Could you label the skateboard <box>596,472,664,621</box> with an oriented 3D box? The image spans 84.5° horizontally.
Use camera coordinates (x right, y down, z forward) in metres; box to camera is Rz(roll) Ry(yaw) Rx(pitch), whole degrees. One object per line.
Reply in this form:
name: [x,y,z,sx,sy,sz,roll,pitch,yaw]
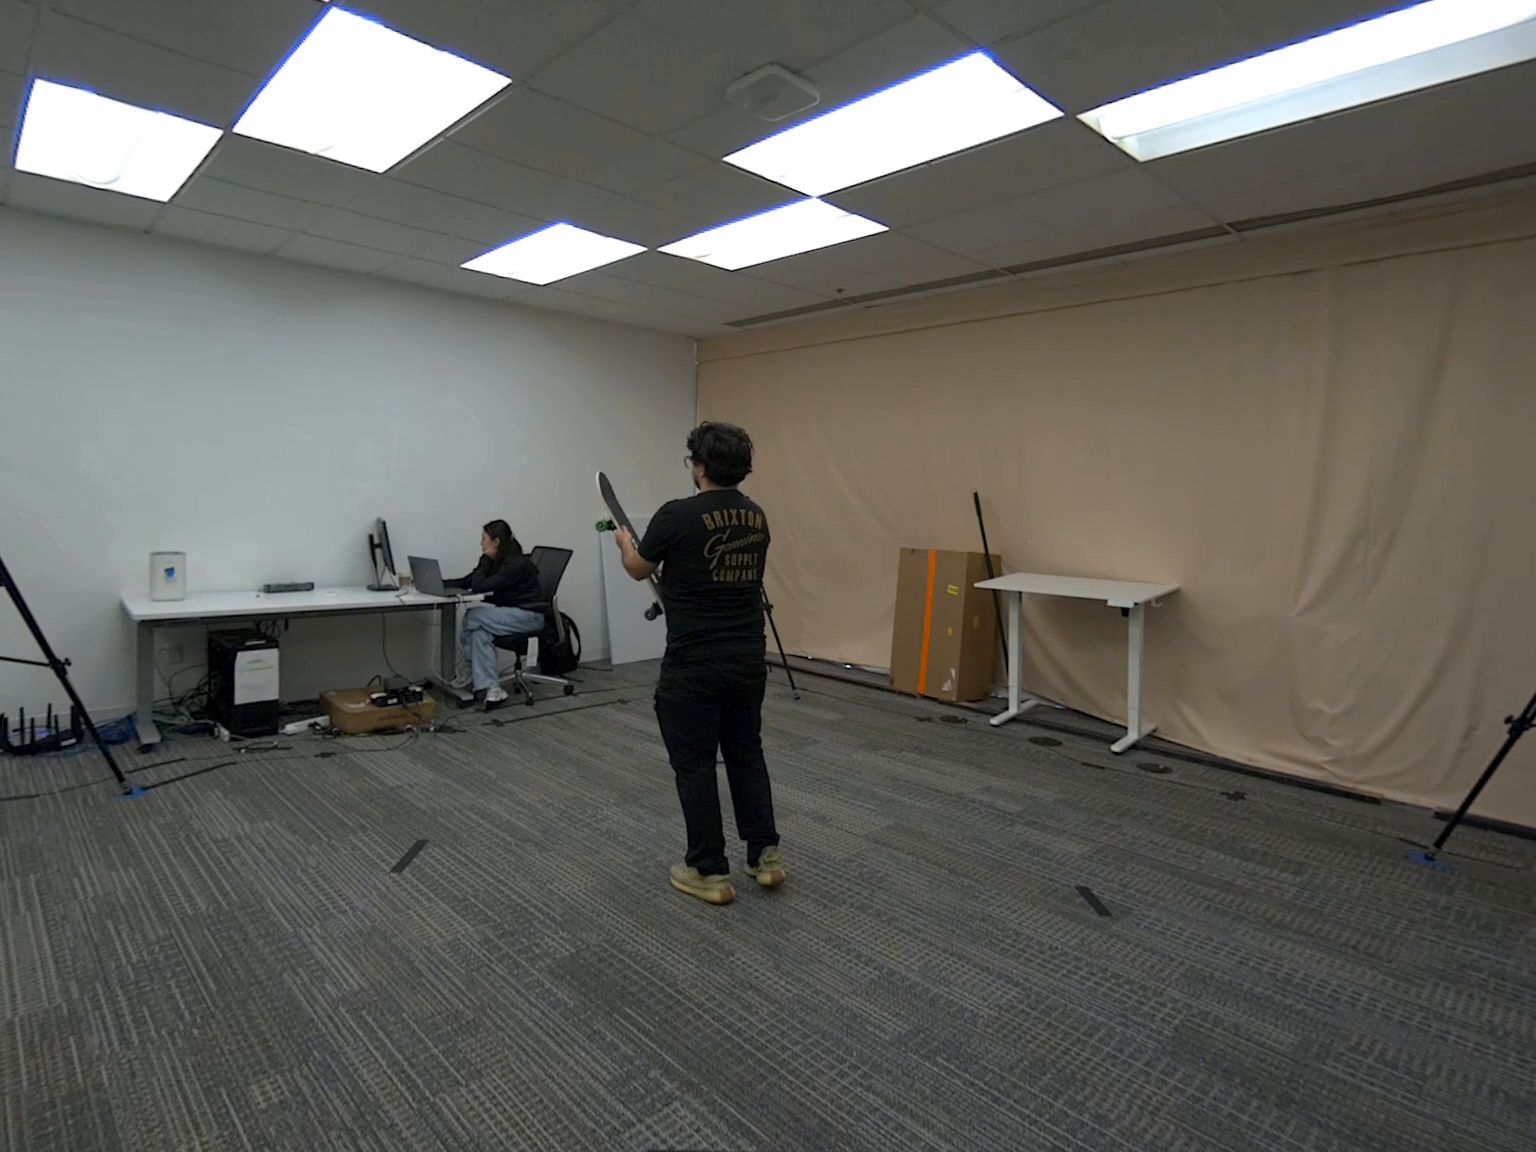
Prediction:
skateboard: [-0.524,-0.039,3.356,0.110,0.786,0.193,-28,0,8]
